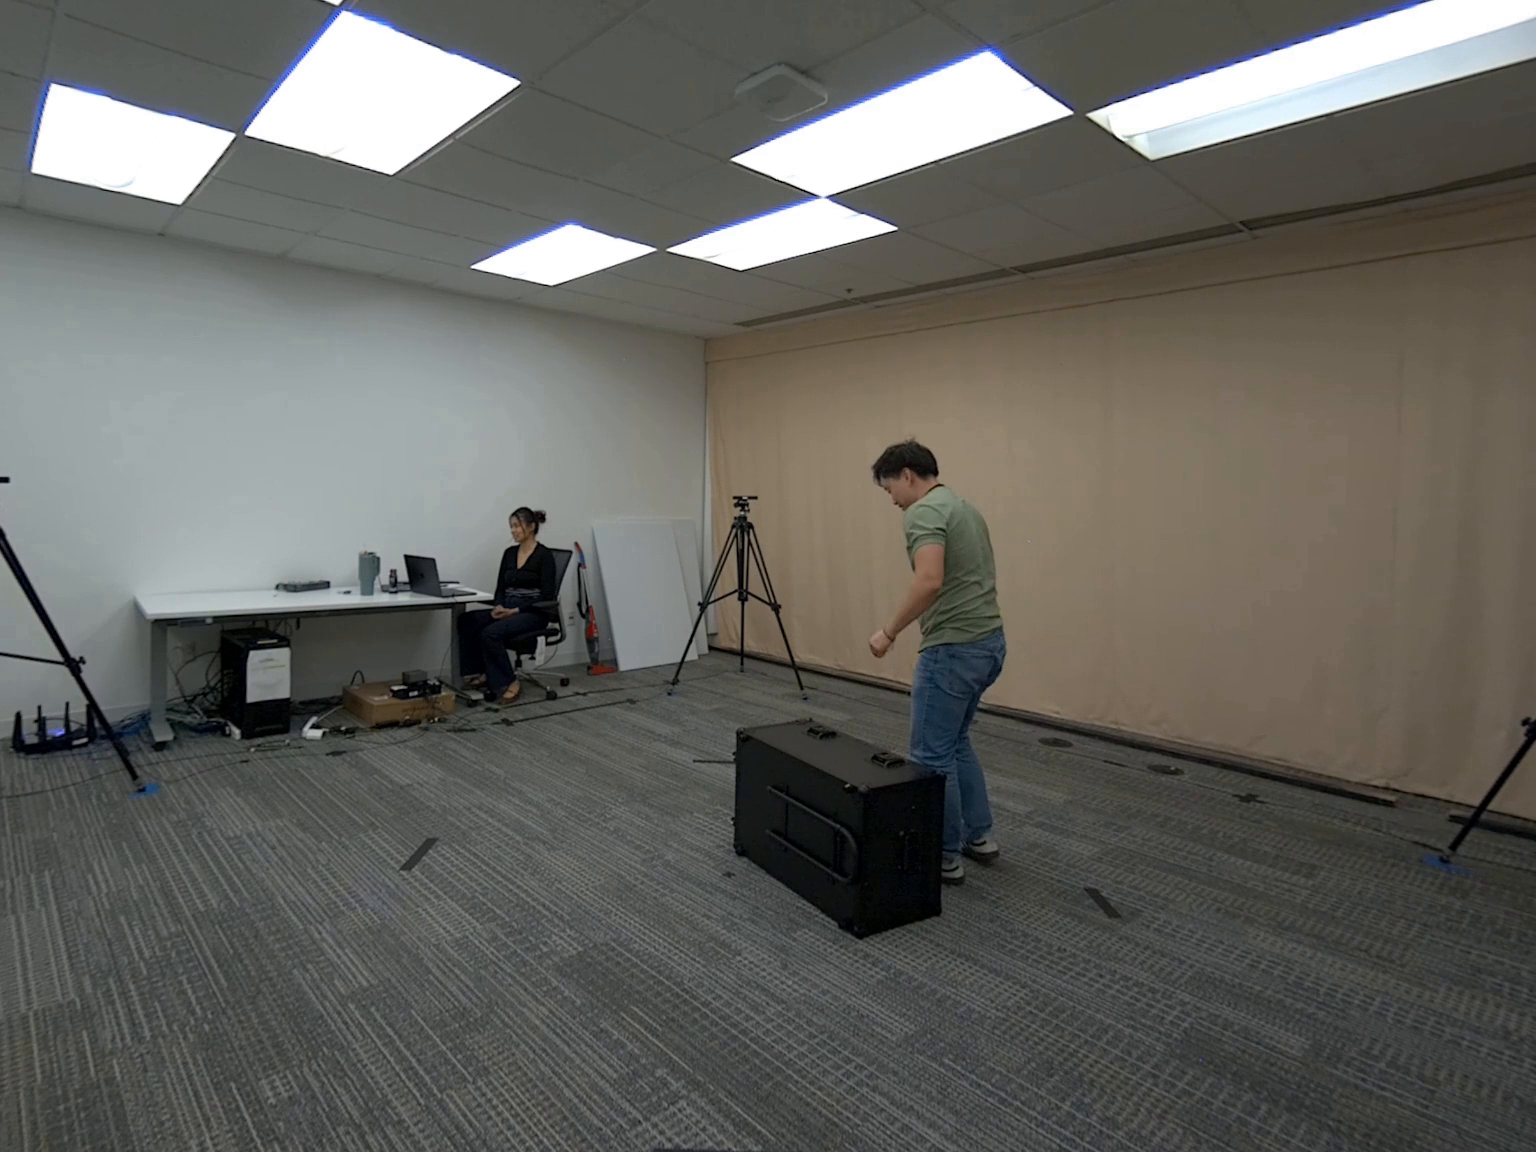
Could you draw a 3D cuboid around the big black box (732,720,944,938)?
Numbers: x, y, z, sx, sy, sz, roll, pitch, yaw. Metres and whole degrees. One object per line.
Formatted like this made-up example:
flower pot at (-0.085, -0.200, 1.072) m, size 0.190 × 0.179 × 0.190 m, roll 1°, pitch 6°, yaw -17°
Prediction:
big black box at (0.194, 0.871, 3.092) m, size 0.388 × 0.520 × 0.881 m, roll -1°, pitch 5°, yaw -31°
